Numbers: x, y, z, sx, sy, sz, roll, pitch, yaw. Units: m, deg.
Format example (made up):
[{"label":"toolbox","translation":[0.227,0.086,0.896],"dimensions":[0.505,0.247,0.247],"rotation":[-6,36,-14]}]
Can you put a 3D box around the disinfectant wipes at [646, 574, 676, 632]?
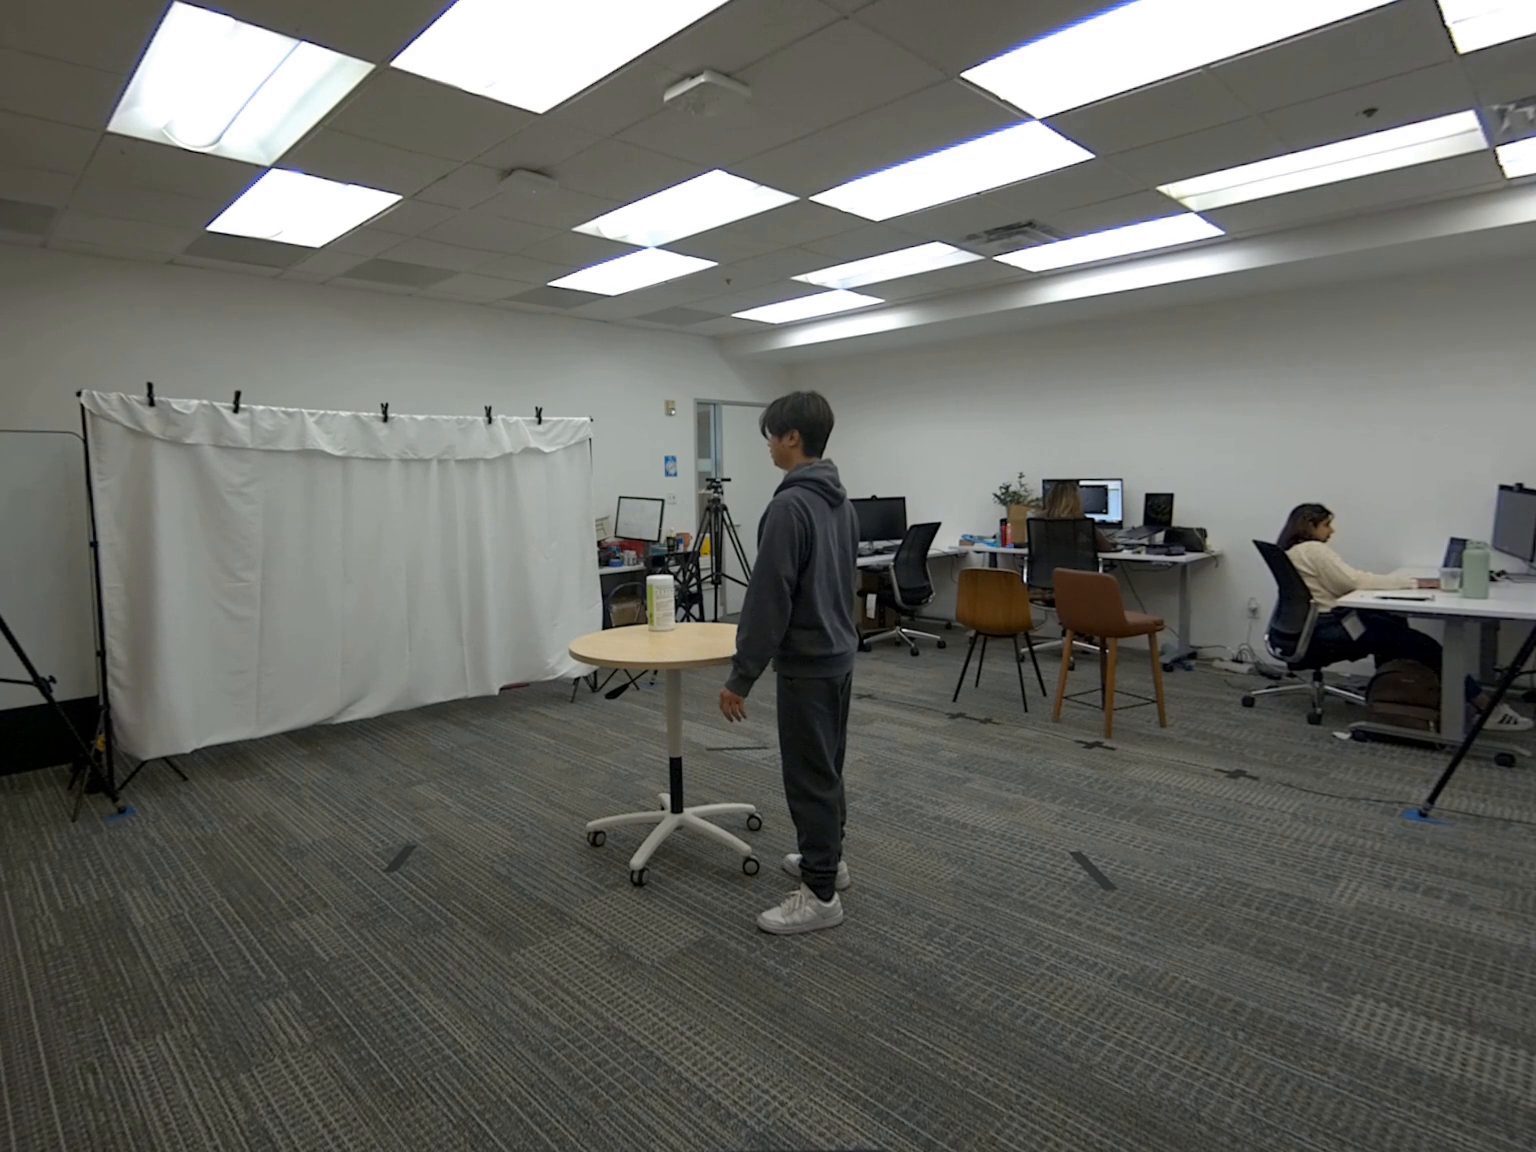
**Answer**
[{"label":"disinfectant wipes","translation":[-0.428,0.108,3.433],"dimensions":[0.118,0.216,0.118],"rotation":[-2,5,-1]}]
